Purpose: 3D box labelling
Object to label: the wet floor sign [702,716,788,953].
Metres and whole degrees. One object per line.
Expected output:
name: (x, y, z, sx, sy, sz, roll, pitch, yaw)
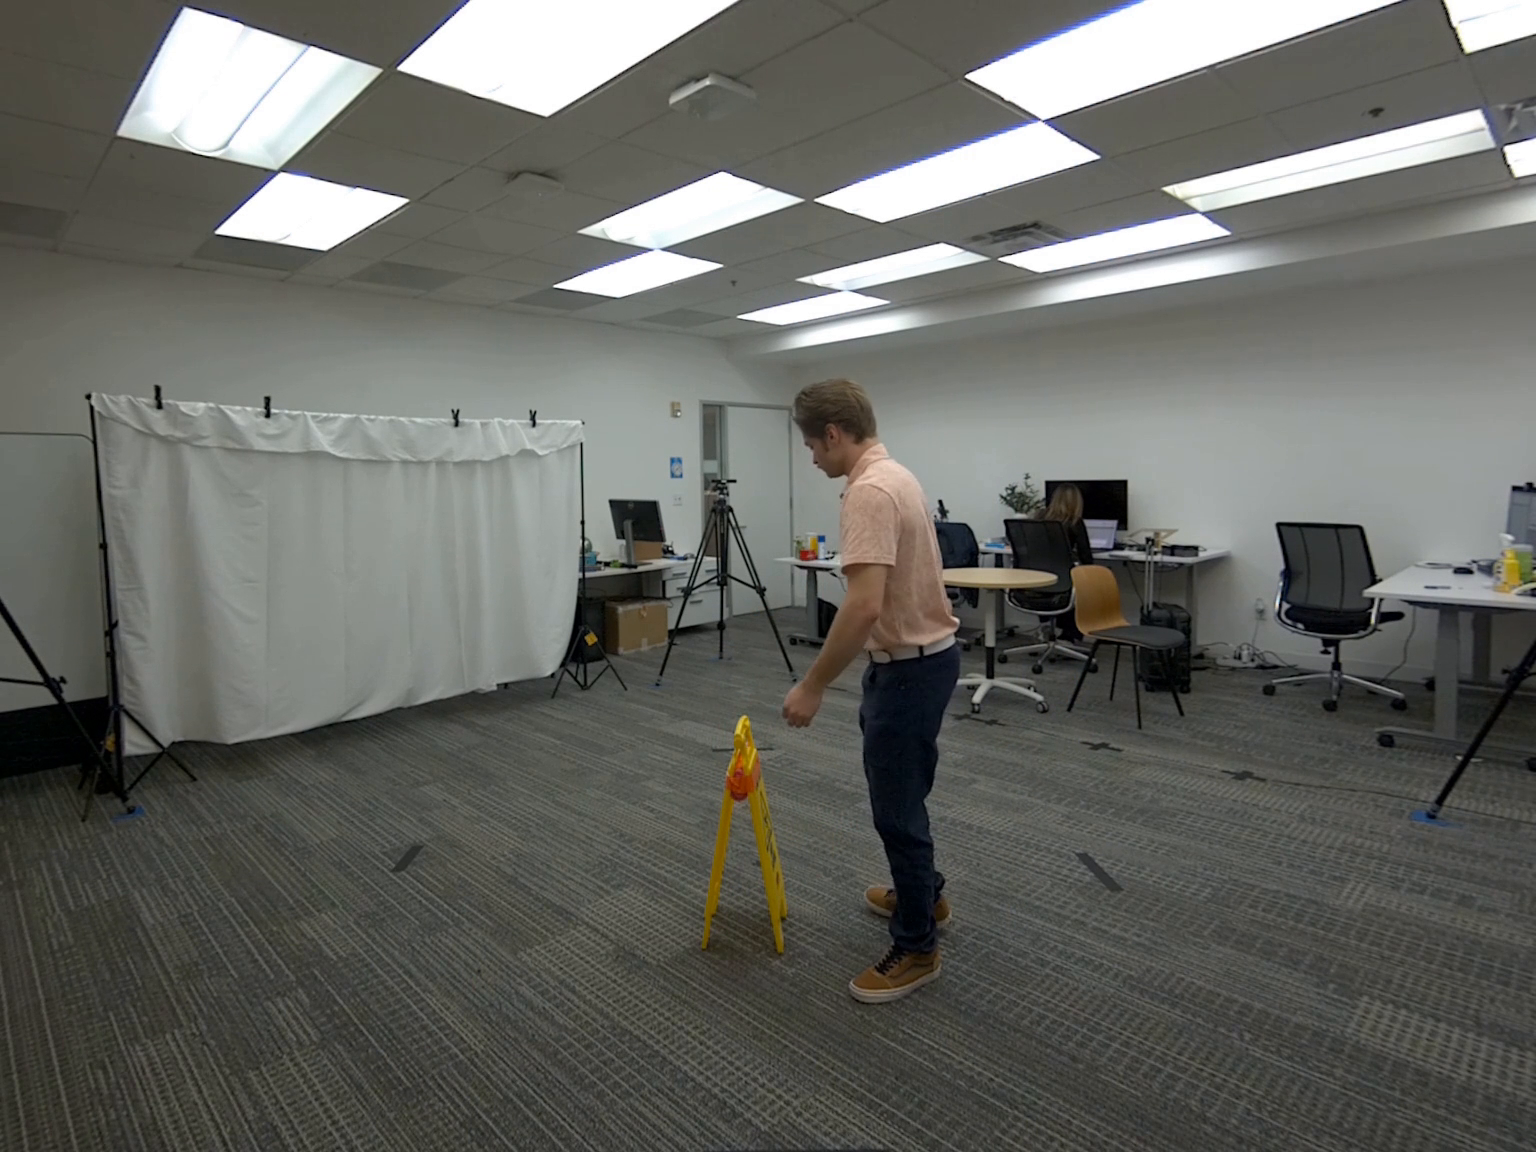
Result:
wet floor sign: (-0.076, 0.775, 2.644, 0.292, 0.644, 0.281, -2, 3, 6)
